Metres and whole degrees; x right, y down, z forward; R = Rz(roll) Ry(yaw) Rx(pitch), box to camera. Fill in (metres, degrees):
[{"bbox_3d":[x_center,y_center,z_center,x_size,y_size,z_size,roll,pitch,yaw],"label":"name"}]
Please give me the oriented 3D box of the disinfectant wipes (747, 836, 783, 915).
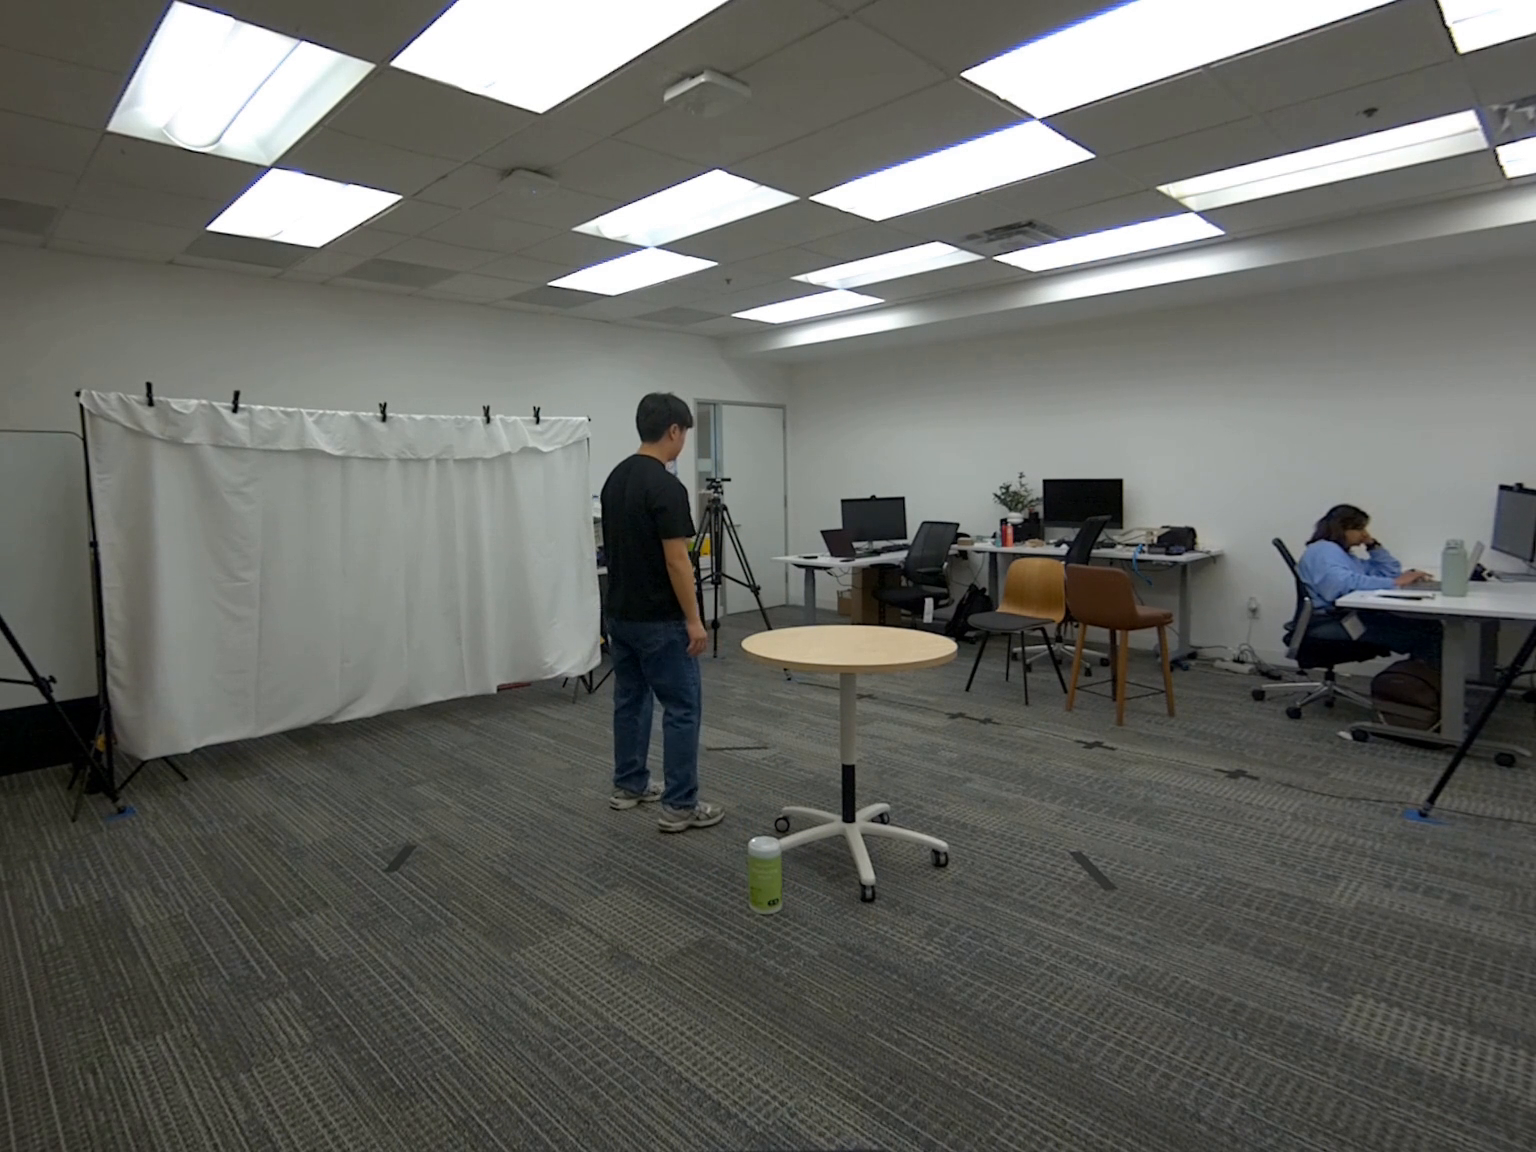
[{"bbox_3d":[-0.005,0.978,2.771,0.118,0.216,0.118,0,5,-2],"label":"disinfectant wipes"}]
